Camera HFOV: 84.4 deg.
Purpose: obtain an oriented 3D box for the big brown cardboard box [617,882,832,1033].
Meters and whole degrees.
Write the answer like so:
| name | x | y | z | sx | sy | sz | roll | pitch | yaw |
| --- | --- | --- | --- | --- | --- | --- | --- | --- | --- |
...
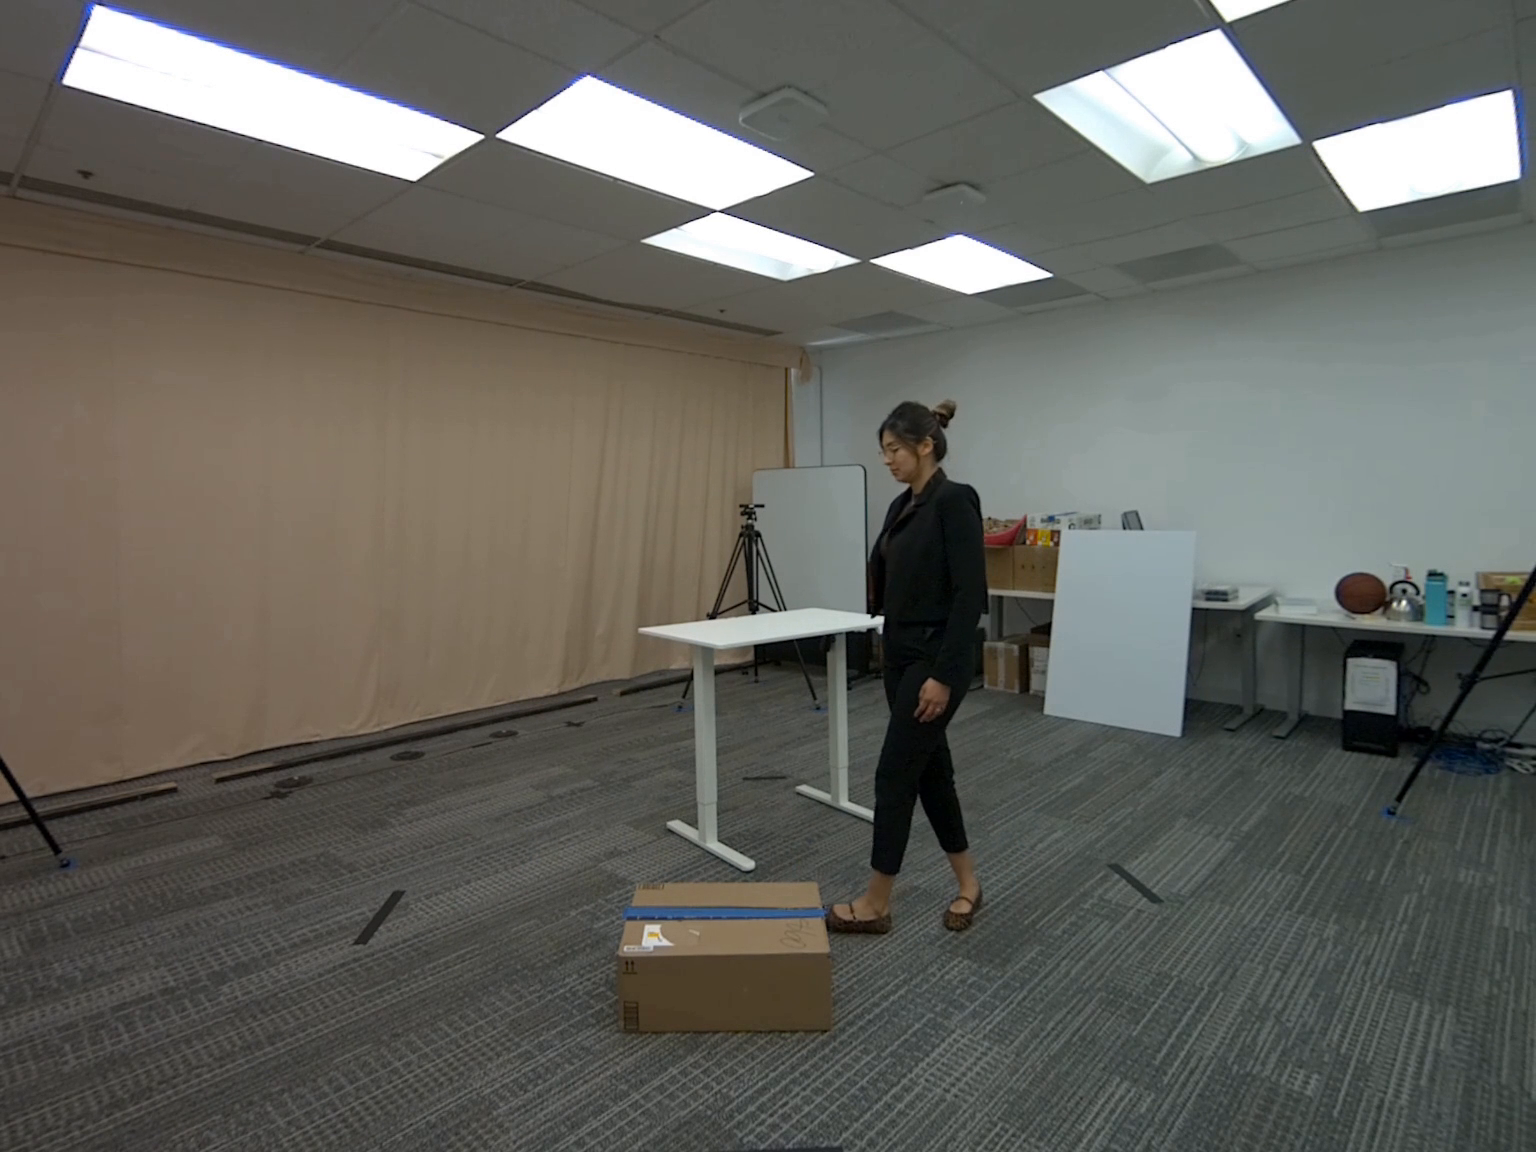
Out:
| name | x | y | z | sx | sy | sz | roll | pitch | yaw |
| --- | --- | --- | --- | --- | --- | --- | --- | --- | --- |
| big brown cardboard box | -0.120 | 1.079 | 2.420 | 0.589 | 0.232 | 0.419 | 0 | 5 | 0 |
